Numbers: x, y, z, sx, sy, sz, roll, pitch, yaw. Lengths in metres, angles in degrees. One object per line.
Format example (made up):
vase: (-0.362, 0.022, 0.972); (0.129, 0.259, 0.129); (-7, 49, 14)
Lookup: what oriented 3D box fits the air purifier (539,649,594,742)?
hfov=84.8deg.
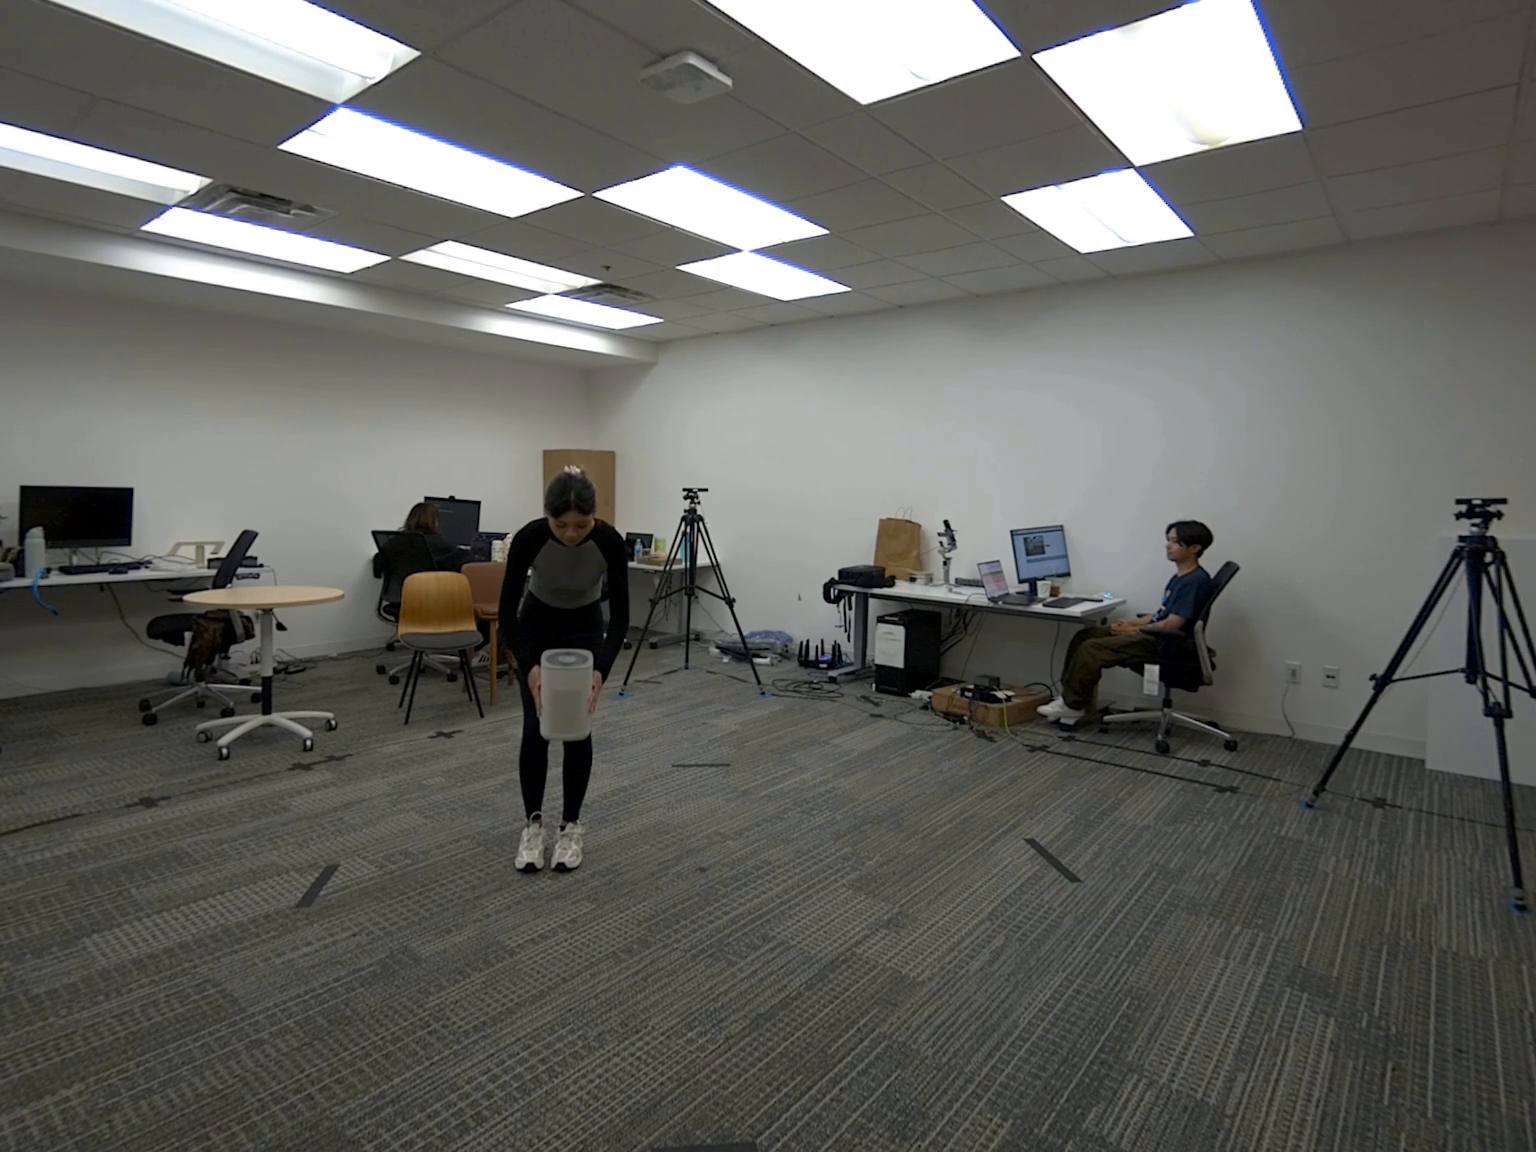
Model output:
air purifier: (-0.686, 0.403, 2.854); (0.169, 0.262, 0.175); (2, 14, -13)
